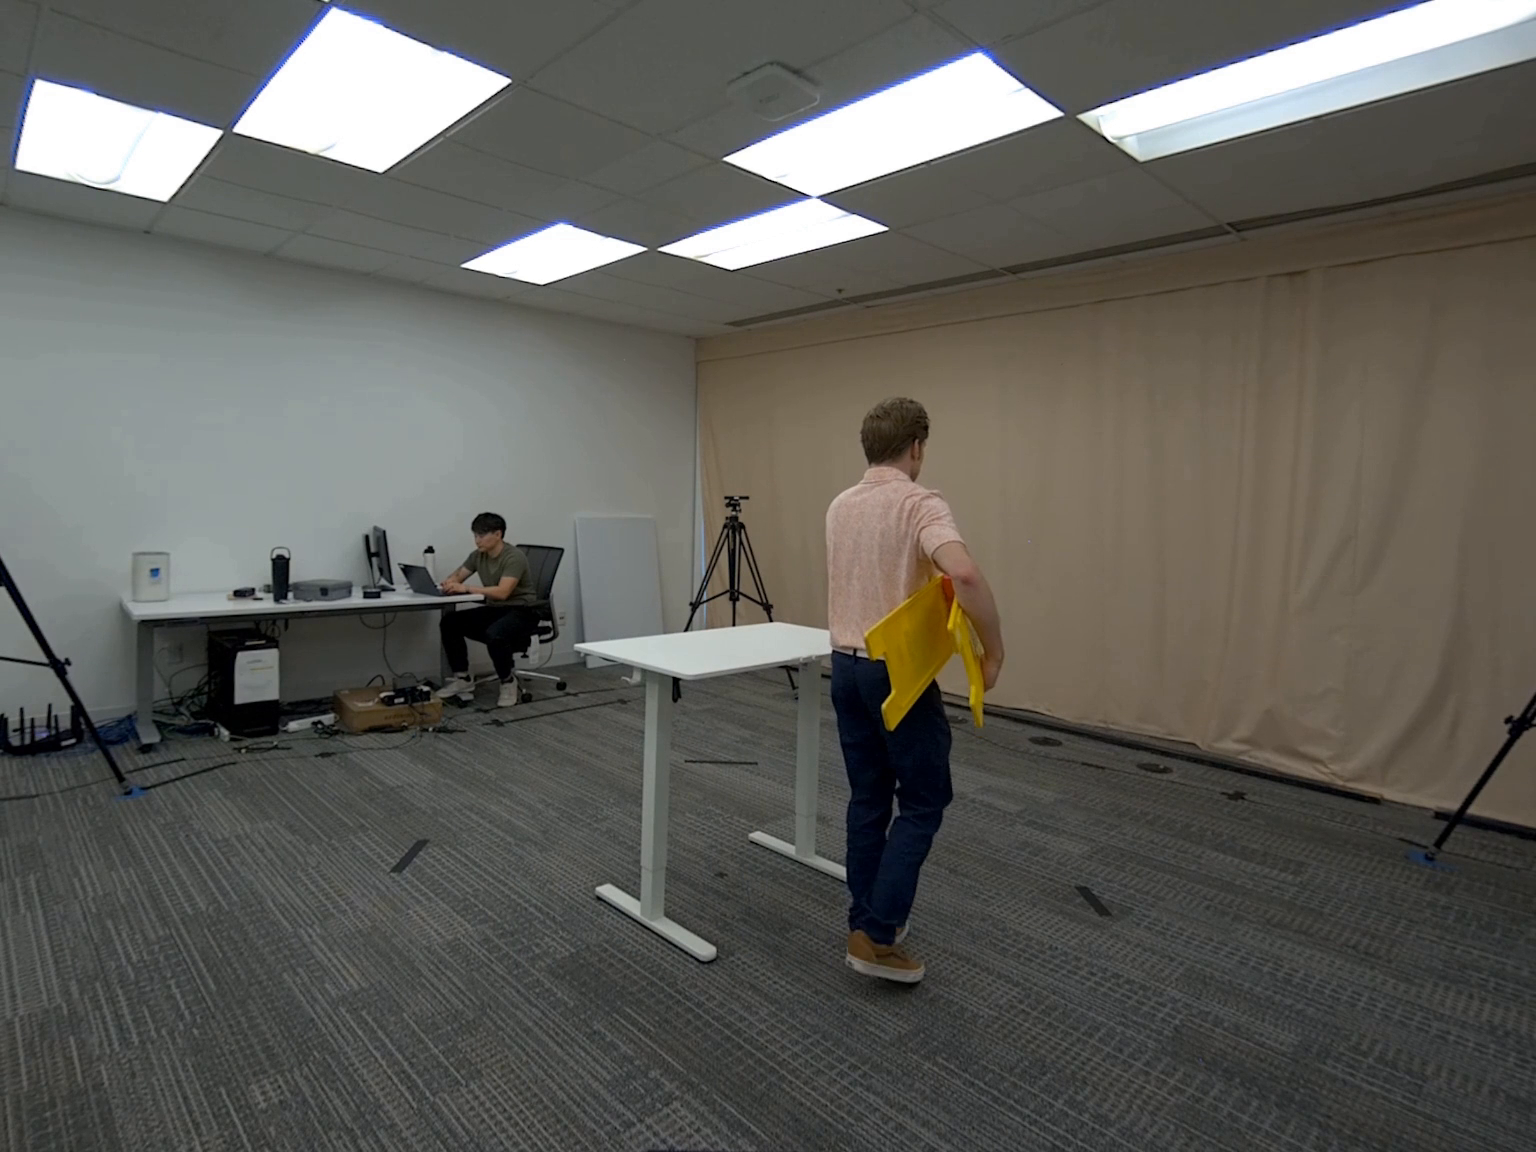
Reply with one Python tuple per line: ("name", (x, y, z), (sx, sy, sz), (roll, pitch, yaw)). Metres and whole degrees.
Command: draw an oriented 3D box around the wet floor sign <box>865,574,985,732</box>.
("wet floor sign", (0.521, 0.156, 2.357), (0.295, 0.279, 0.642), (-8, 17, 30))
